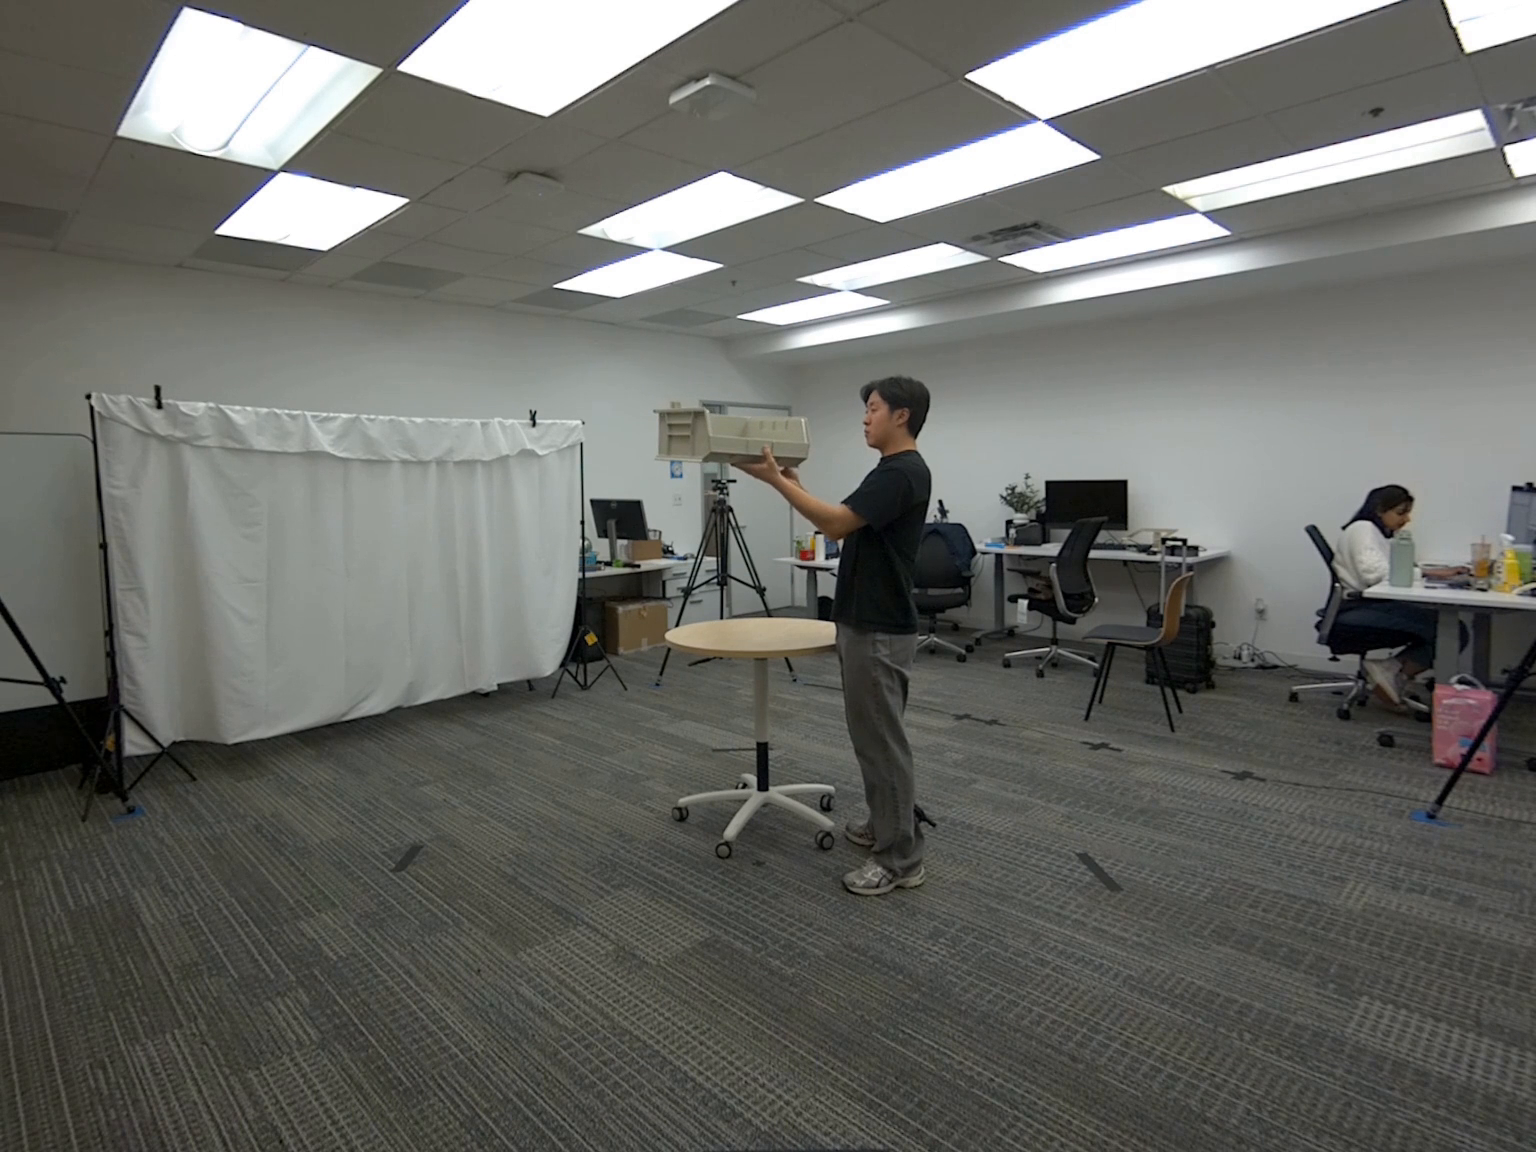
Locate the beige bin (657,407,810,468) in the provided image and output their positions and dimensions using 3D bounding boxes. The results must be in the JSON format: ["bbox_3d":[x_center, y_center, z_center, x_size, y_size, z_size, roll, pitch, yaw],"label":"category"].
[{"bbox_3d":[-0.125,-0.483,2.996,0.411,0.188,0.389,-2,8,-35],"label":"beige bin"}]
